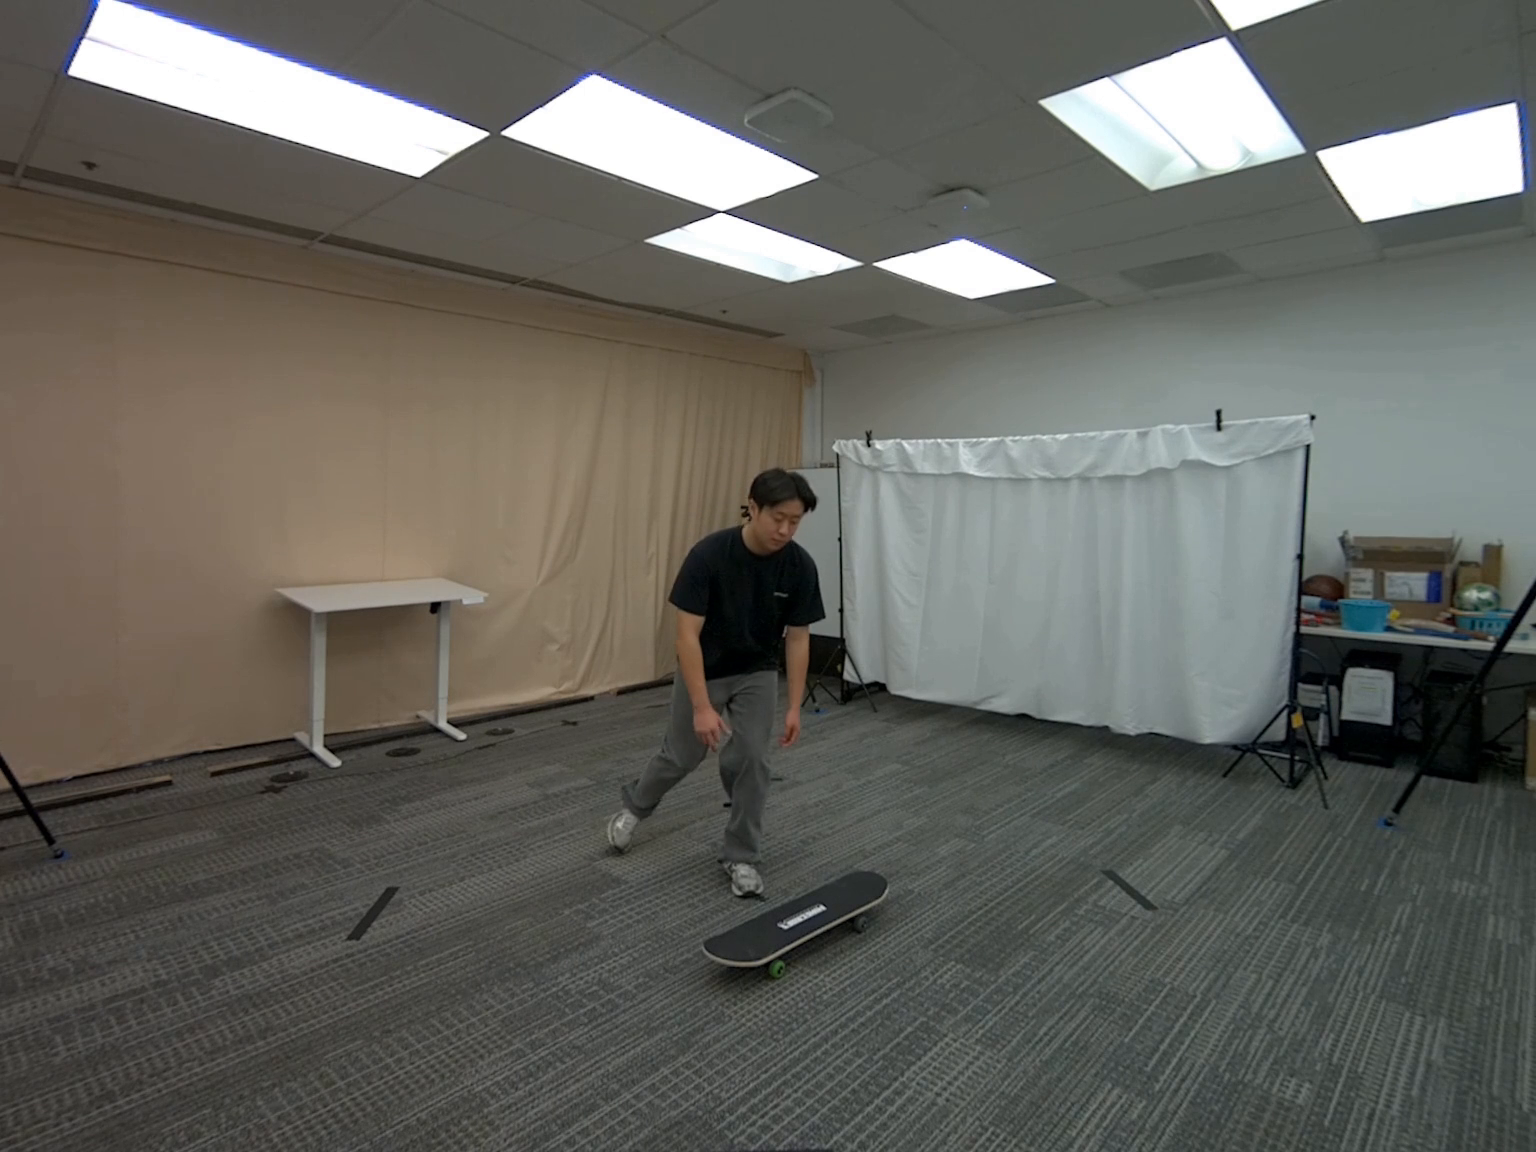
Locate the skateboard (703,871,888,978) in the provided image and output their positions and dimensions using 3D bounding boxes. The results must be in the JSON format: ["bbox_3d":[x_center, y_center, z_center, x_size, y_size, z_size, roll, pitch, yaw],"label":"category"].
[{"bbox_3d":[0.109,1.115,2.671,0.761,0.110,0.200,-5,6,-44],"label":"skateboard"}]
